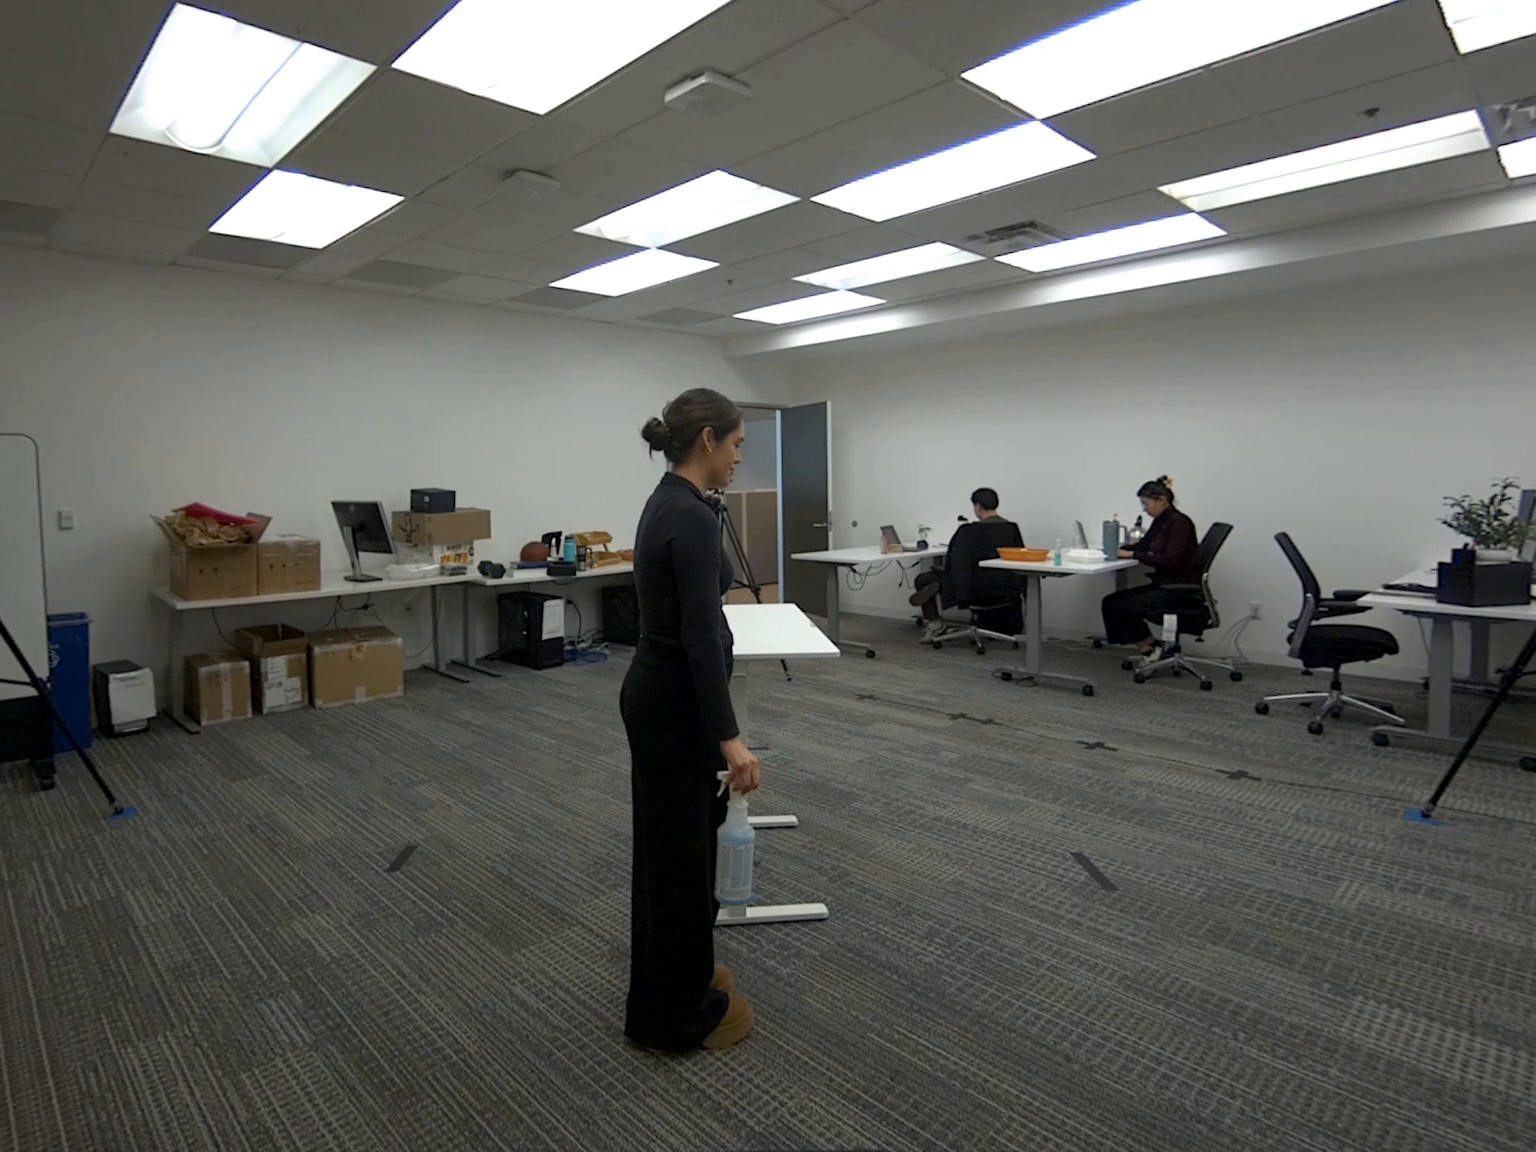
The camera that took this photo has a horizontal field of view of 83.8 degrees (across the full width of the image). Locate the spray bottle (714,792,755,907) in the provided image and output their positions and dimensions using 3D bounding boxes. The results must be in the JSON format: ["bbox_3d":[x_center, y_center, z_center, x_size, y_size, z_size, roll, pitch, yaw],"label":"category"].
[{"bbox_3d":[-0.081,0.595,1.945,0.091,0.296,0.087,0,4,7],"label":"spray bottle"}]
